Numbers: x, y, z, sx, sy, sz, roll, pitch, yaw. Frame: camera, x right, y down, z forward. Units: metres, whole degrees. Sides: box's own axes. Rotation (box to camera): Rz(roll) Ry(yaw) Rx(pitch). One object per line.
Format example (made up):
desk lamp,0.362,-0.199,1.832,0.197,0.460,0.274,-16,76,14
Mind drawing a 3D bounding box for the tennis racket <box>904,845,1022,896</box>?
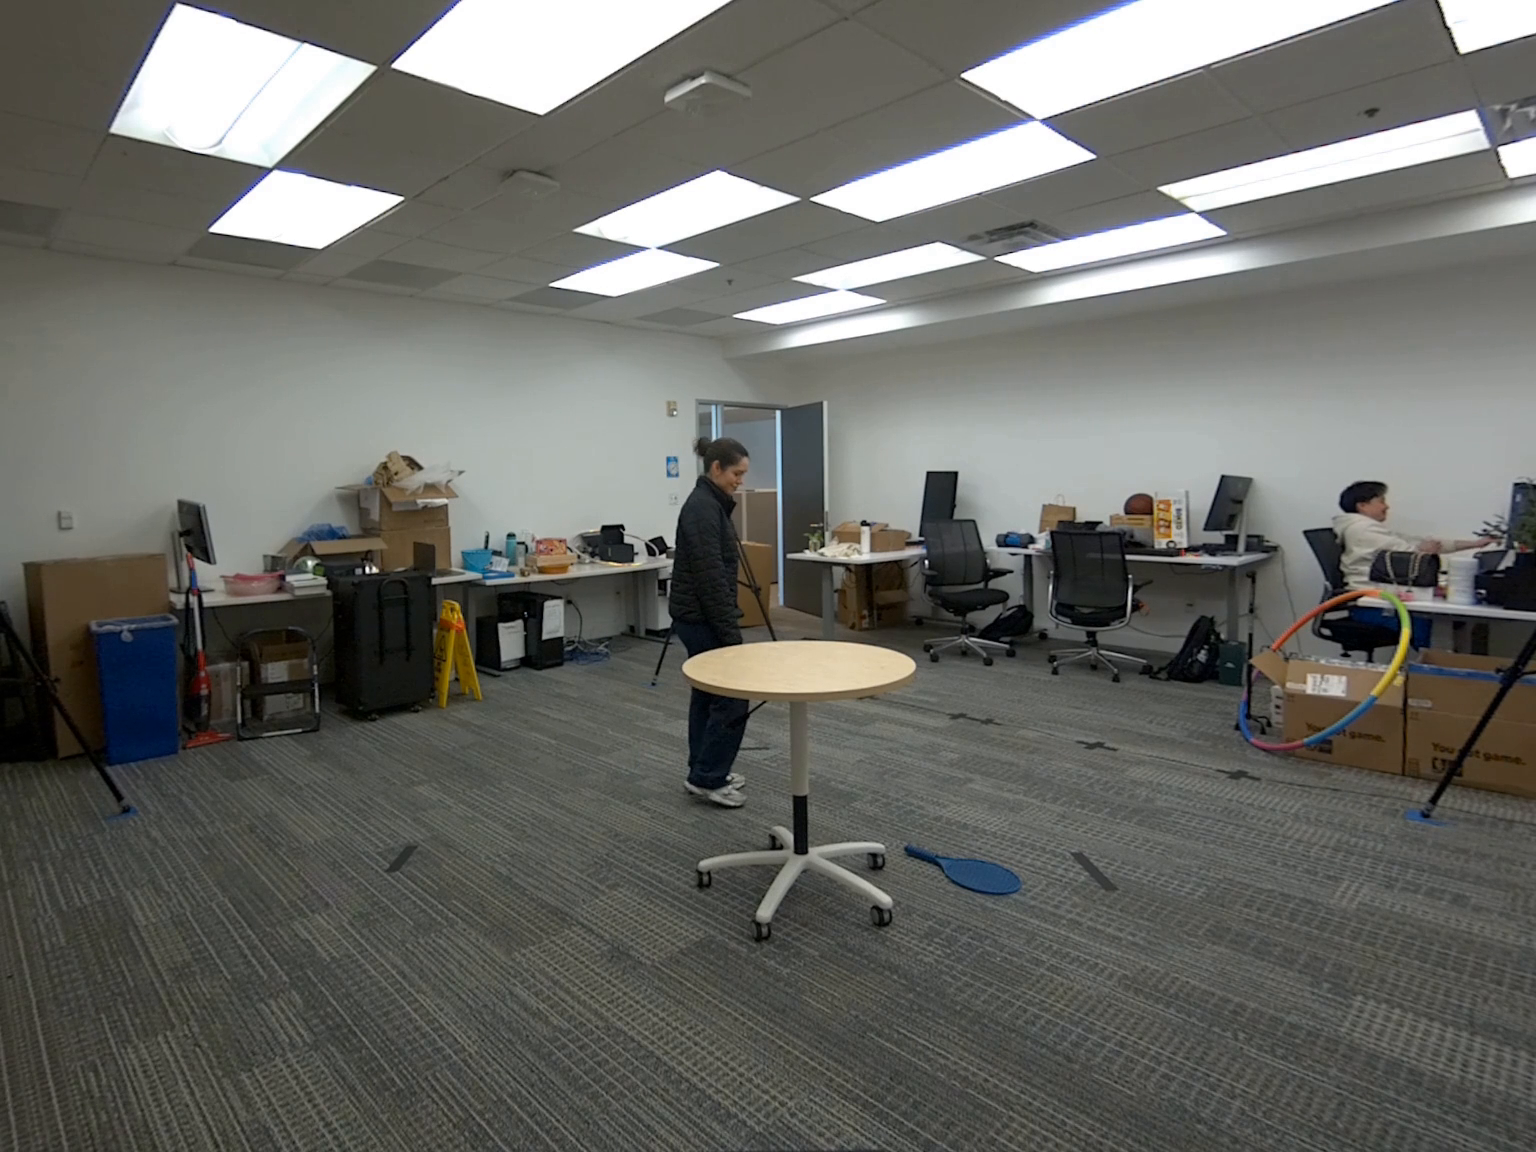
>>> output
tennis racket,0.677,1.027,3.031,0.447,0.031,0.208,7,10,44
